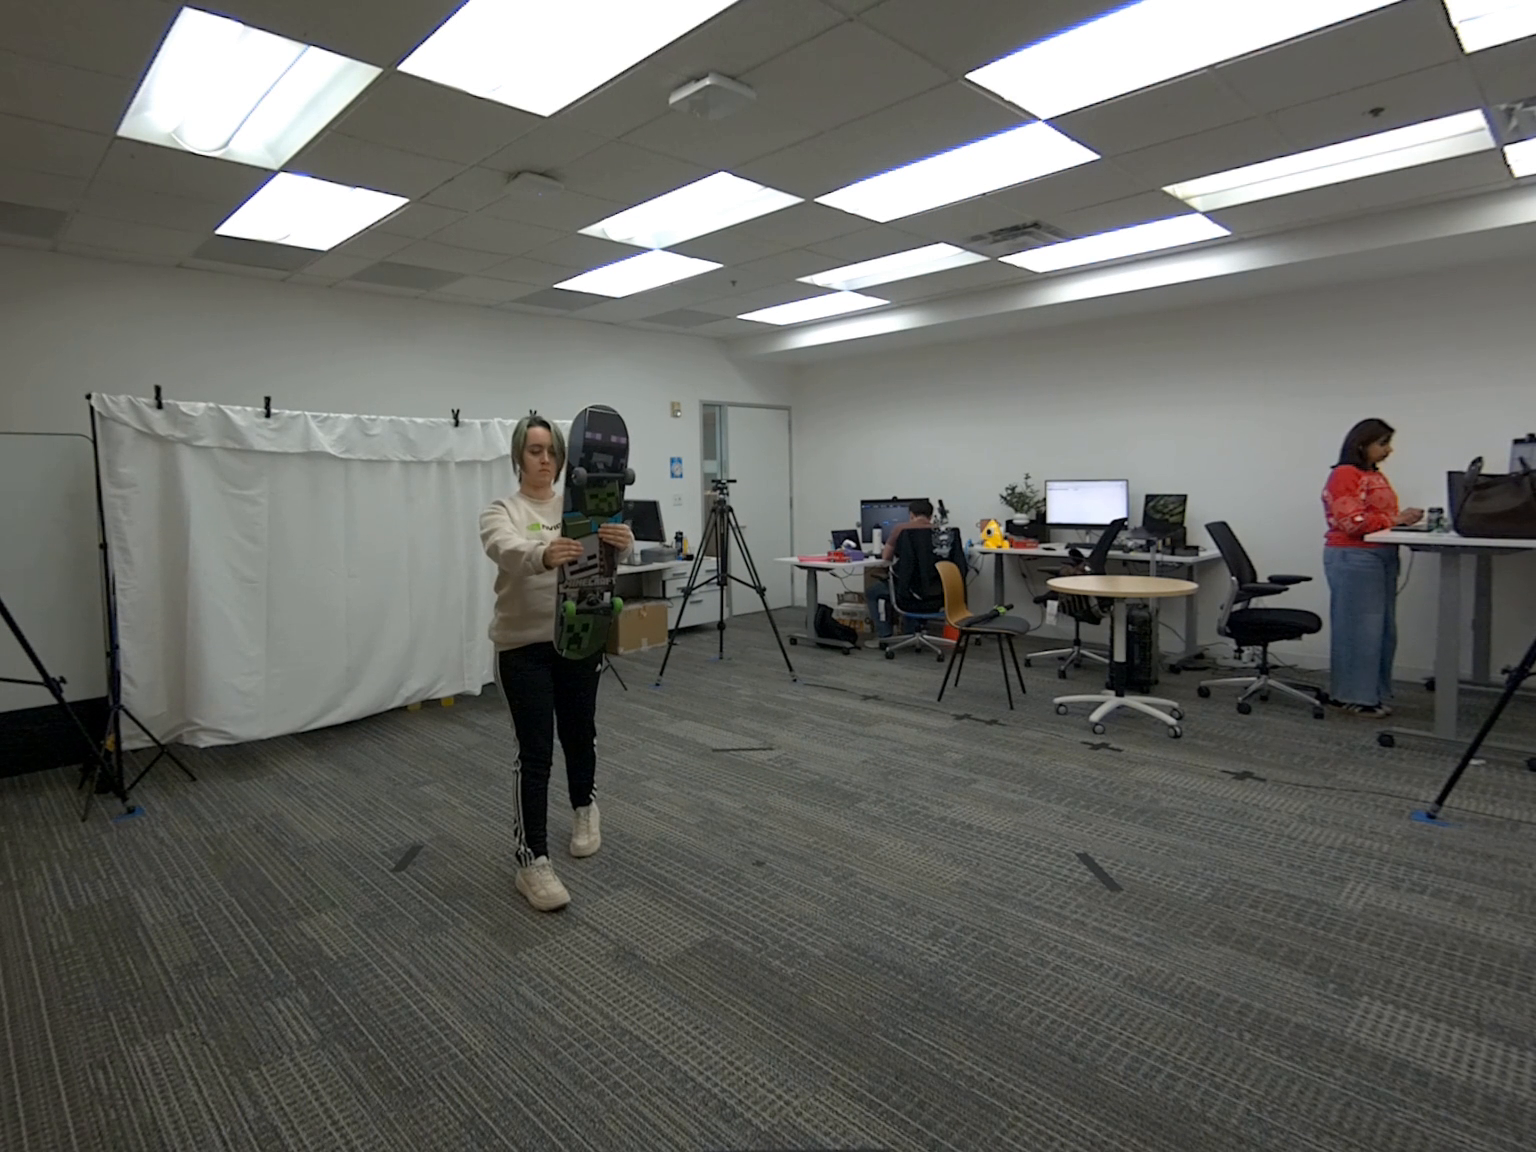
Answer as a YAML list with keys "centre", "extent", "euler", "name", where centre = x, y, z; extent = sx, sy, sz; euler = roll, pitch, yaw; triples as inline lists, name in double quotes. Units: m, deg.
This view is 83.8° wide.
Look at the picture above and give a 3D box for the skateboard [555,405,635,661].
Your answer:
- centre: [-0.511, -0.104, 2.519]
  extent: [0.188, 0.777, 0.114]
  euler: [-2, 17, -35]
  name: "skateboard"
